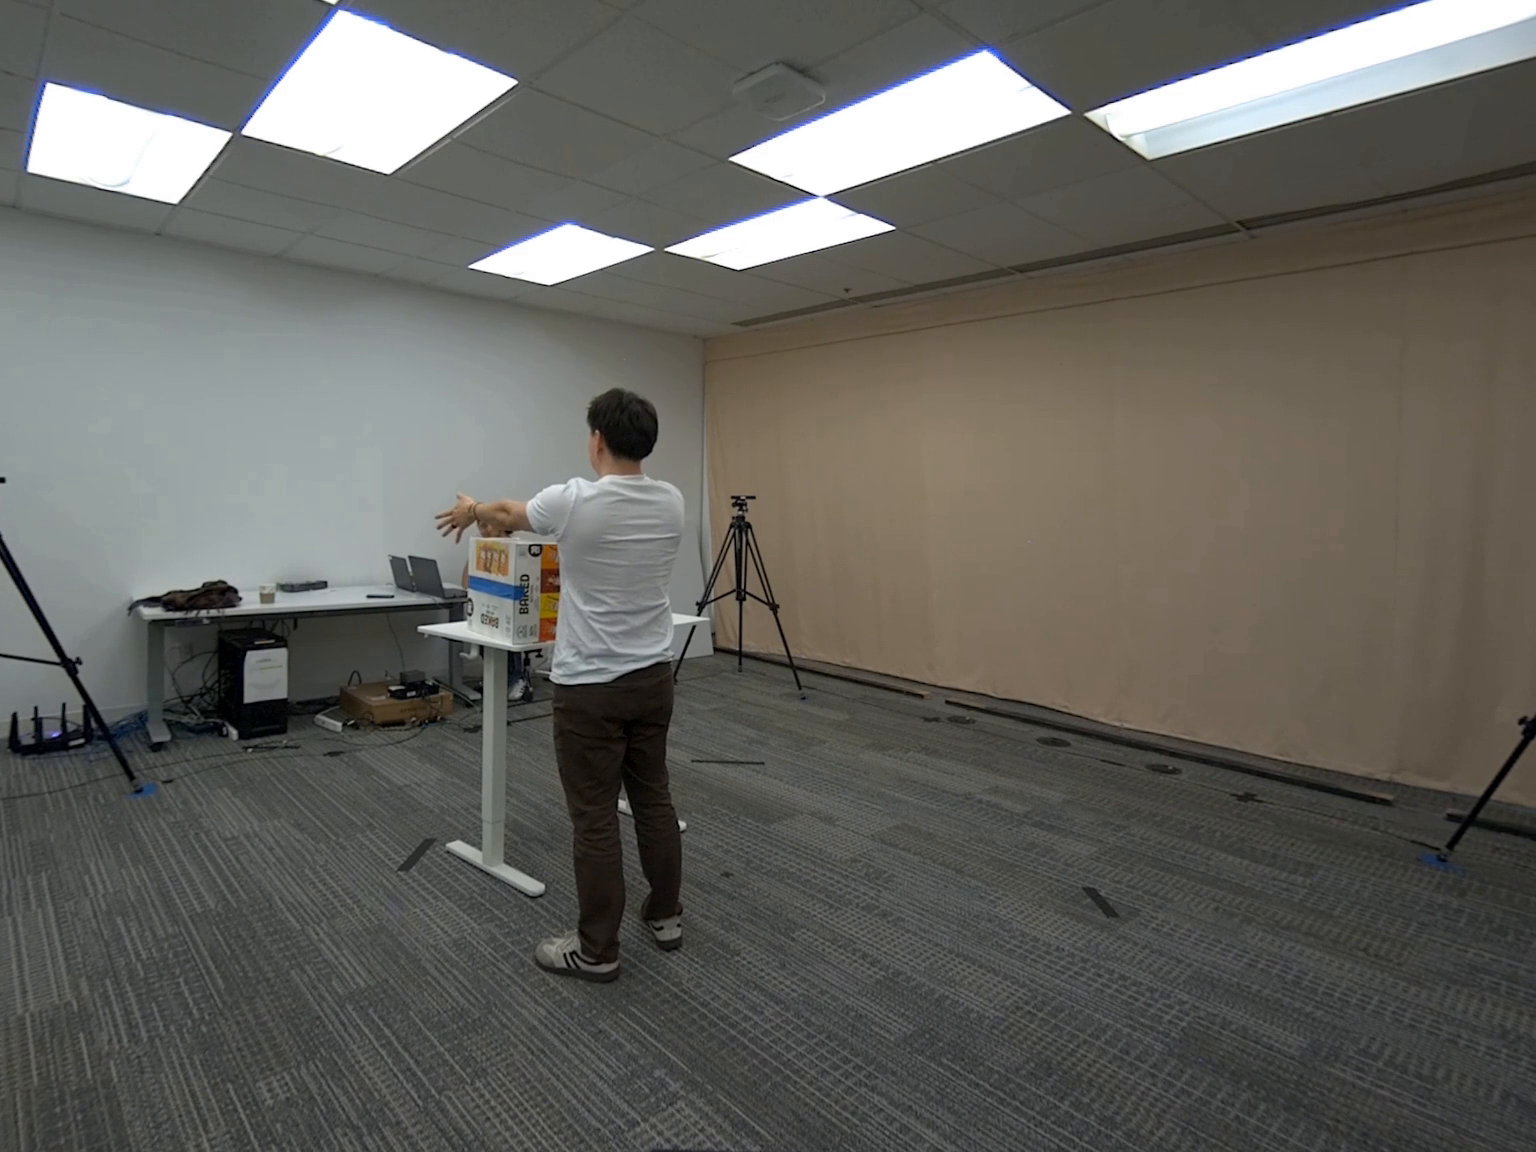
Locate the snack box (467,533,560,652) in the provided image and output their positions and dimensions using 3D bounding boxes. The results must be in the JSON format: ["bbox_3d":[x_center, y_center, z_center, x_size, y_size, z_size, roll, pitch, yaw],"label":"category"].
[{"bbox_3d":[-0.908,0.042,3.011,0.201,0.339,0.415,0,4,-40],"label":"snack box"}]
